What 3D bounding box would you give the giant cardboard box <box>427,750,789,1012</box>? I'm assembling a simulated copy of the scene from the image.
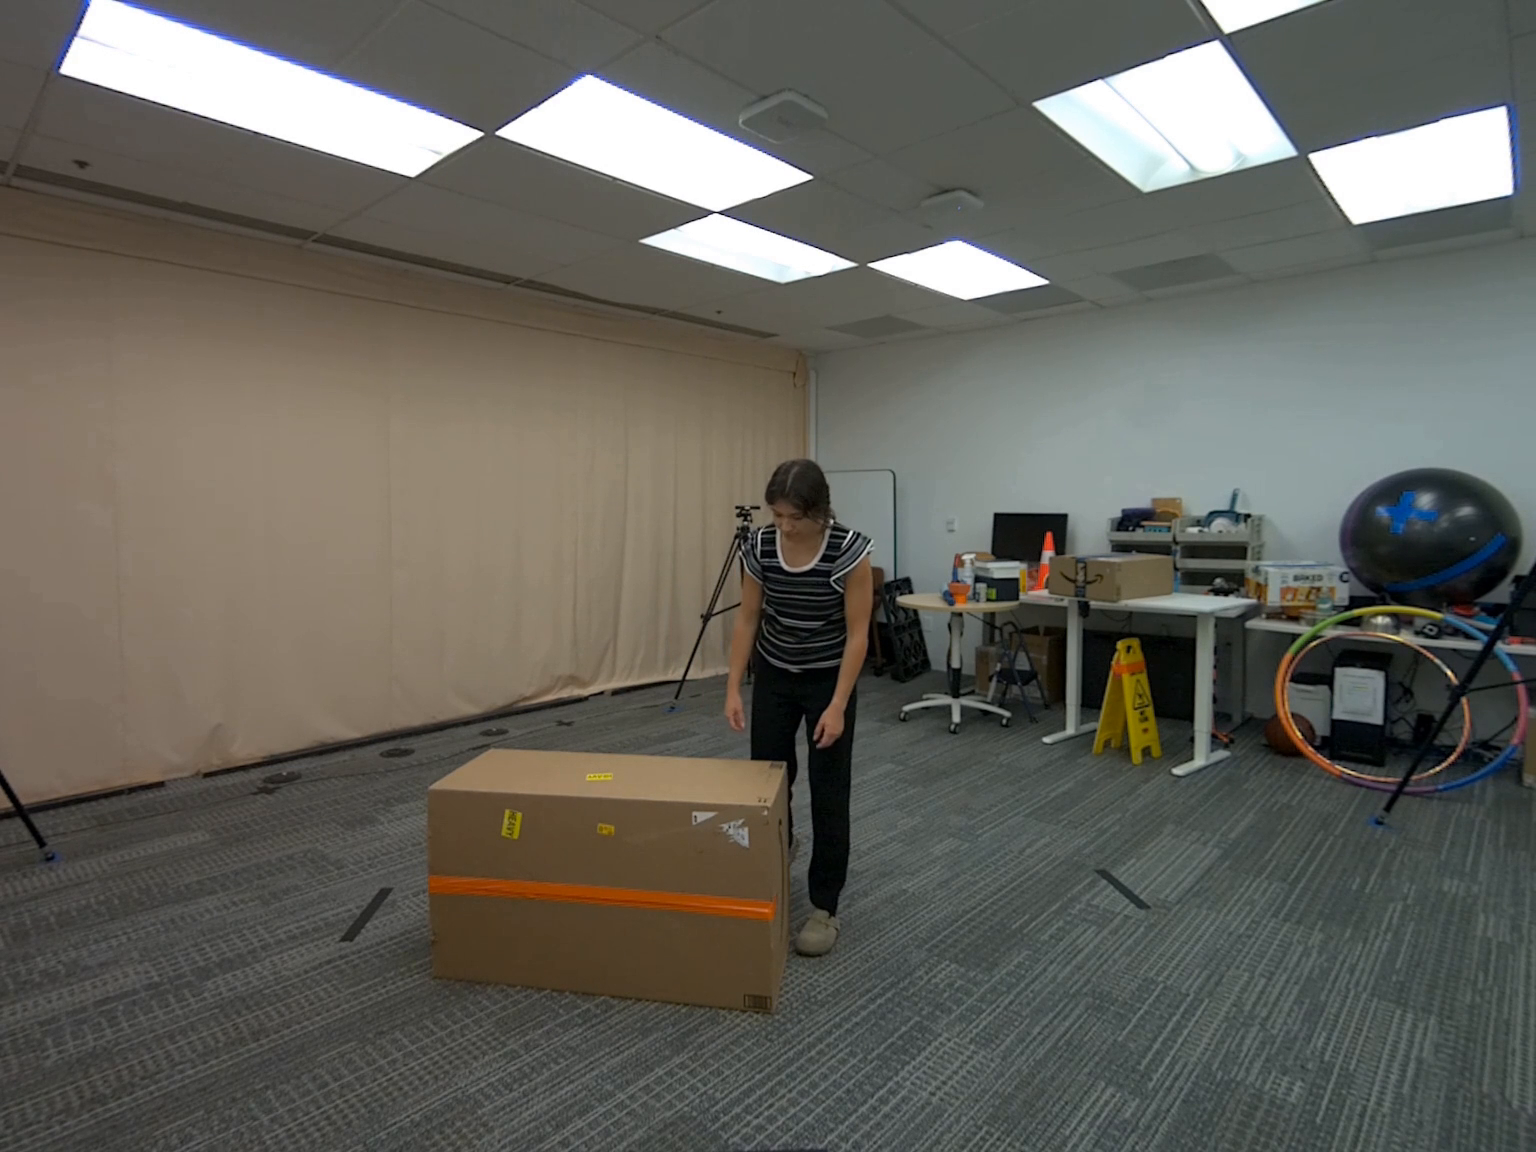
[{"bbox_3d":[-0.473,0.890,2.581,1.038,0.576,0.422,0,3,10],"label":"giant cardboard box"}]
